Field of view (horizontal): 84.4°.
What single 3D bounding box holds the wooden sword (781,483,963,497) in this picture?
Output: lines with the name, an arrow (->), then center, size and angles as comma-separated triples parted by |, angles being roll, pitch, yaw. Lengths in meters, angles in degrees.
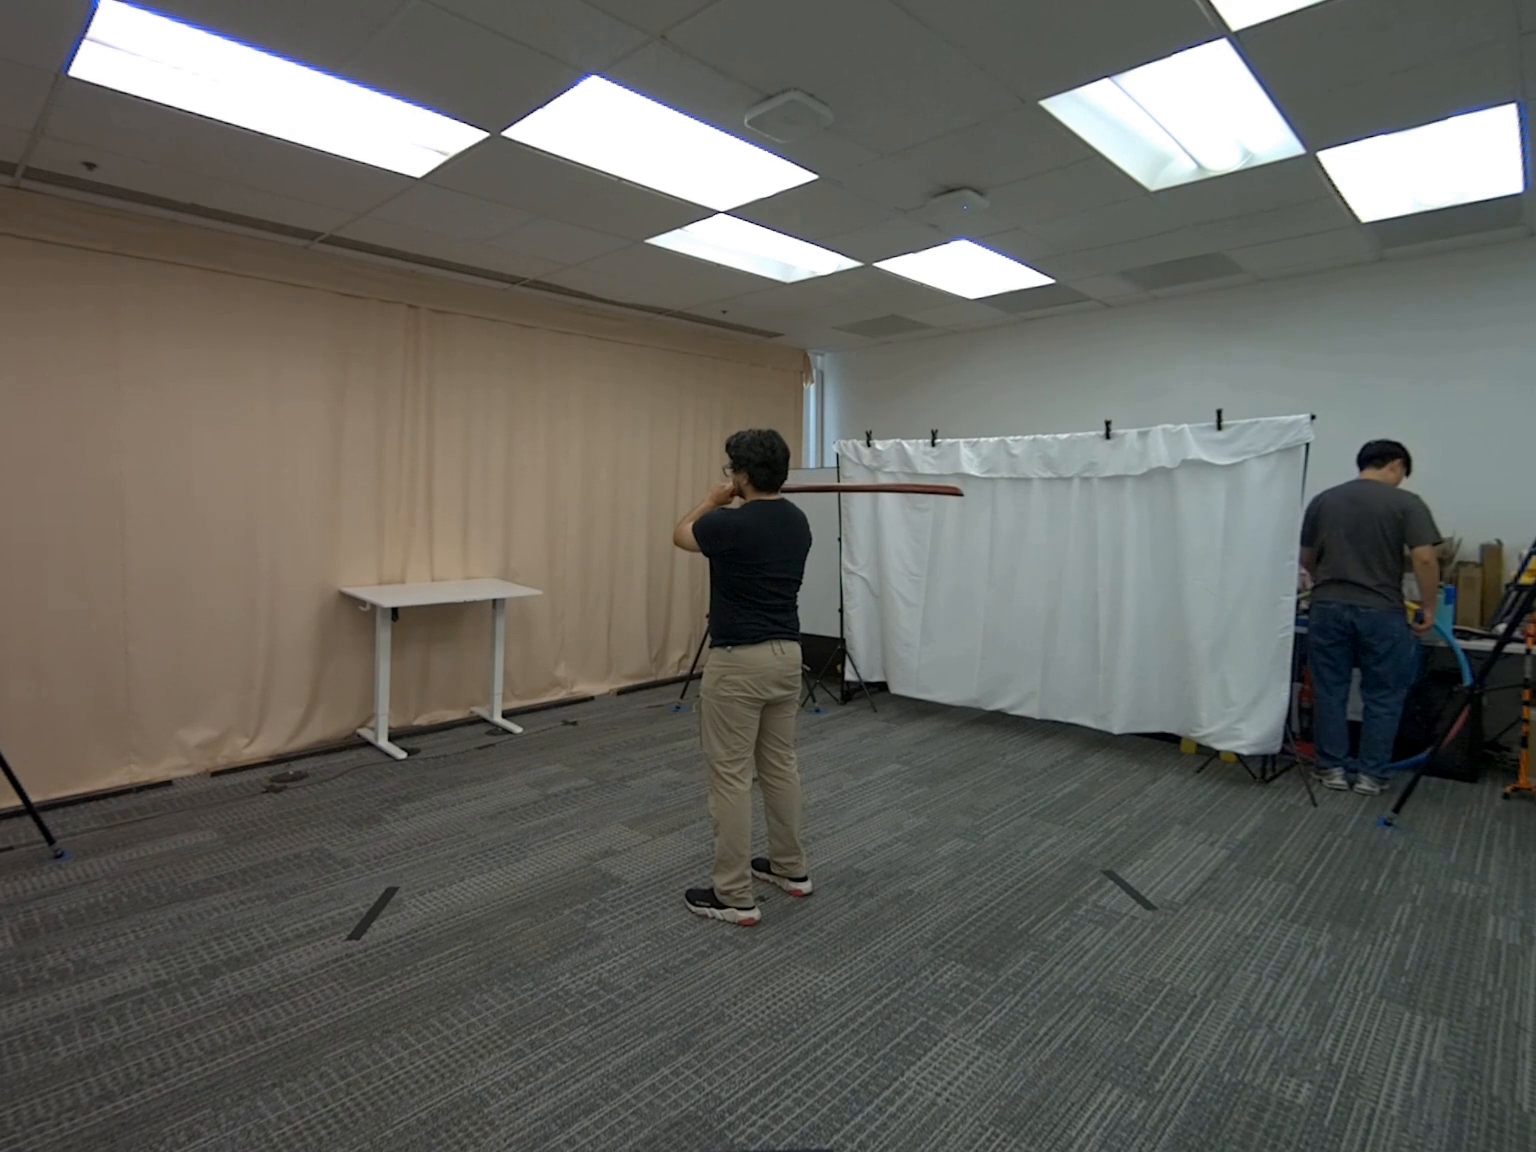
wooden sword -> 0.207, -0.313, 2.933 | 1.058, 0.024, 0.050 | 5, 14, 36
